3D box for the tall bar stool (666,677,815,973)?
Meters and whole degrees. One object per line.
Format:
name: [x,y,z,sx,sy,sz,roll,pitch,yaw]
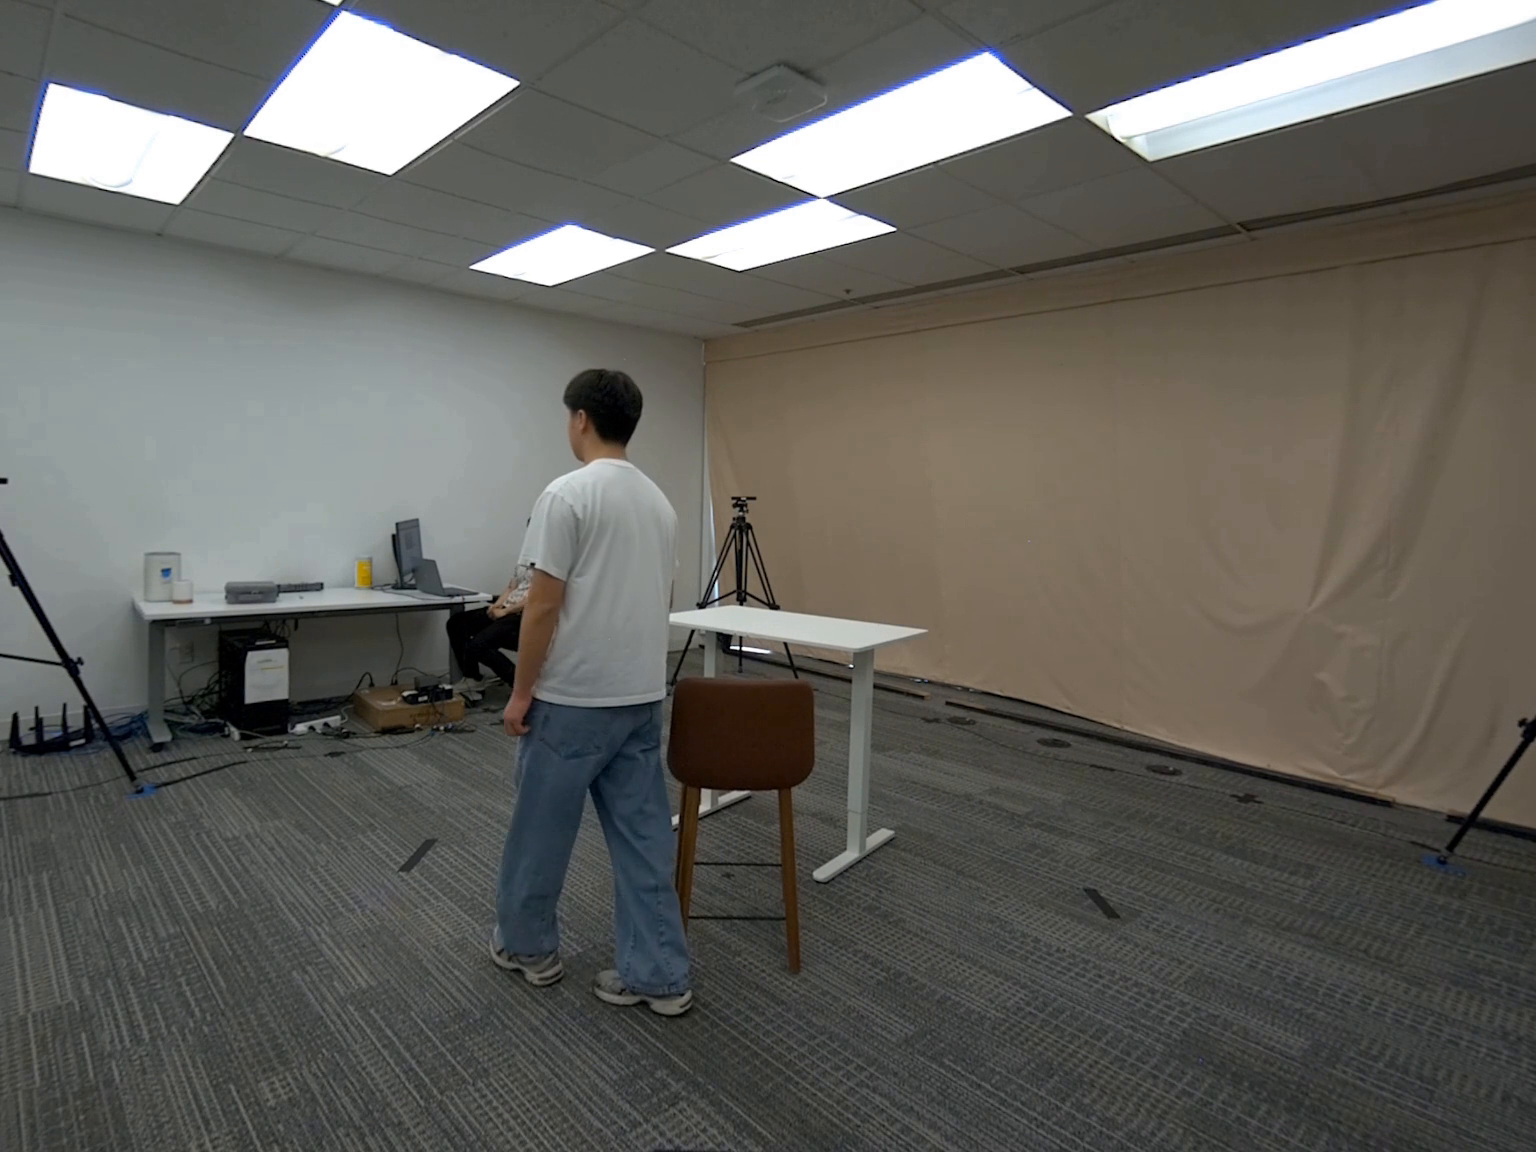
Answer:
tall bar stool: [-0.104,0.714,2.669,0.456,0.886,0.470,1,5,-2]
